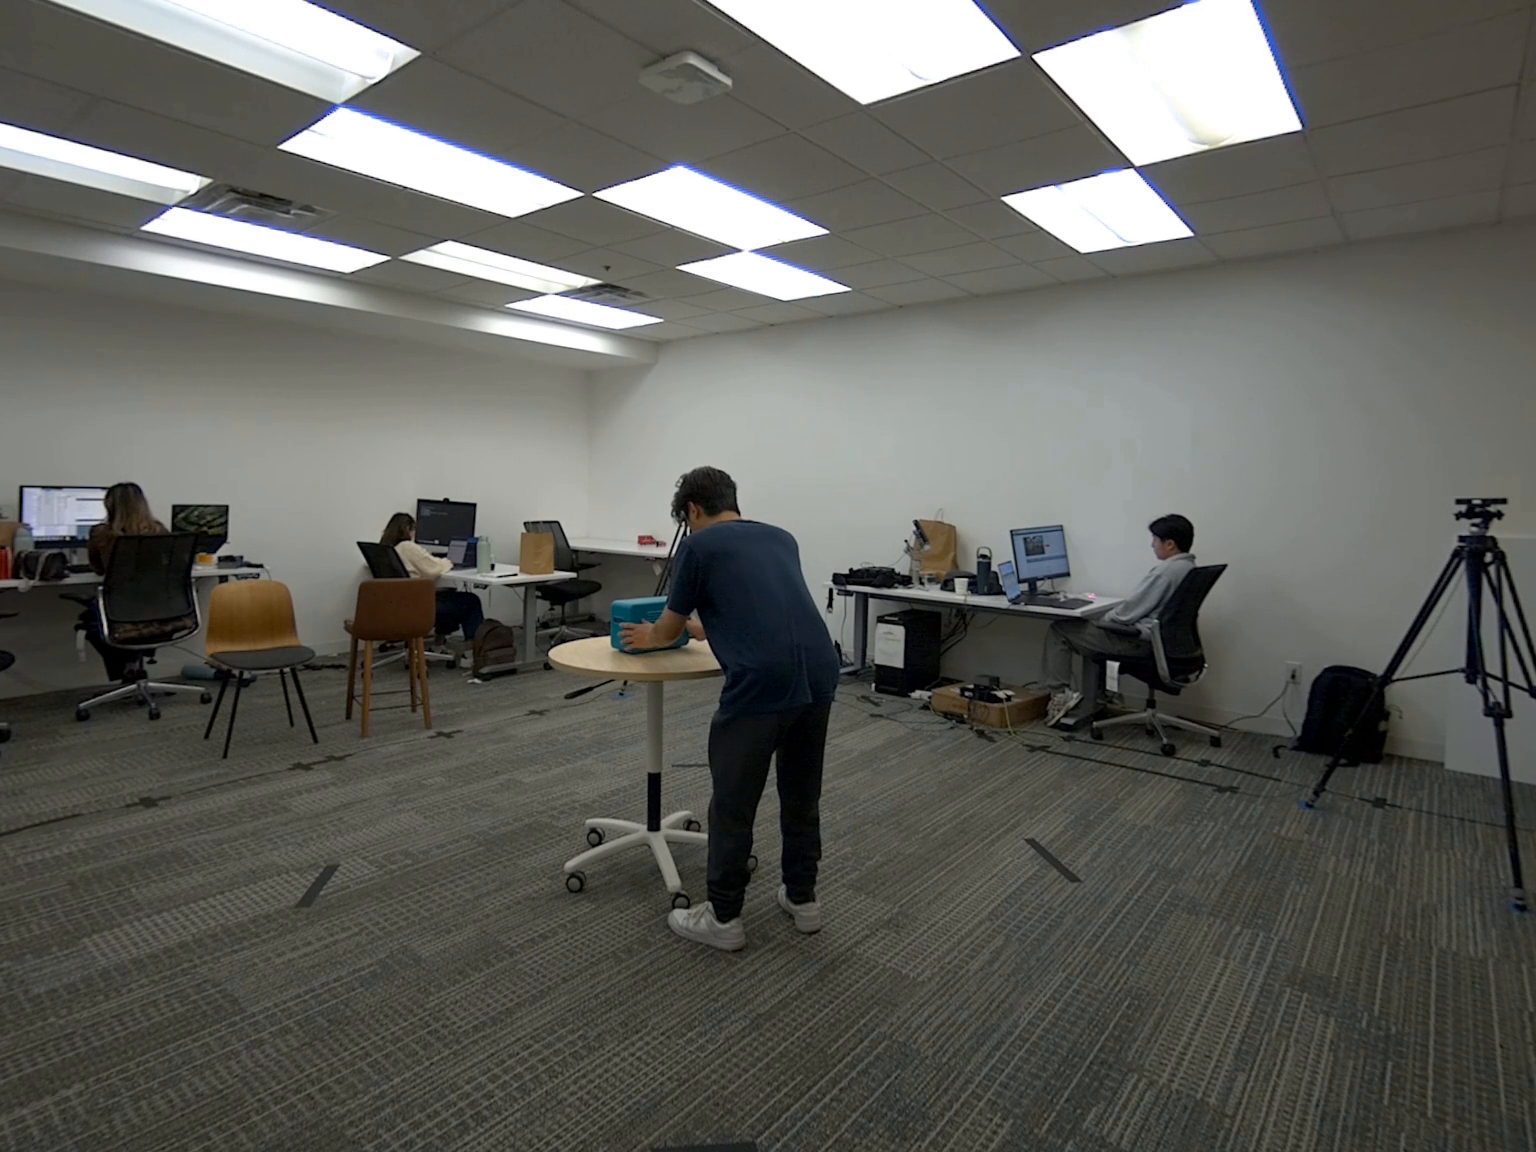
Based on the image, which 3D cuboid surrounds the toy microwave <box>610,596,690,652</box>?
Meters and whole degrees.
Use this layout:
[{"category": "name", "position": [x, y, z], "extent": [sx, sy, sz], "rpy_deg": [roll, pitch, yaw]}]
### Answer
[{"category": "toy microwave", "position": [-0.449, 0.174, 3.129], "extent": [0.277, 0.183, 0.157], "rpy_deg": [-3, 5, -43]}]
